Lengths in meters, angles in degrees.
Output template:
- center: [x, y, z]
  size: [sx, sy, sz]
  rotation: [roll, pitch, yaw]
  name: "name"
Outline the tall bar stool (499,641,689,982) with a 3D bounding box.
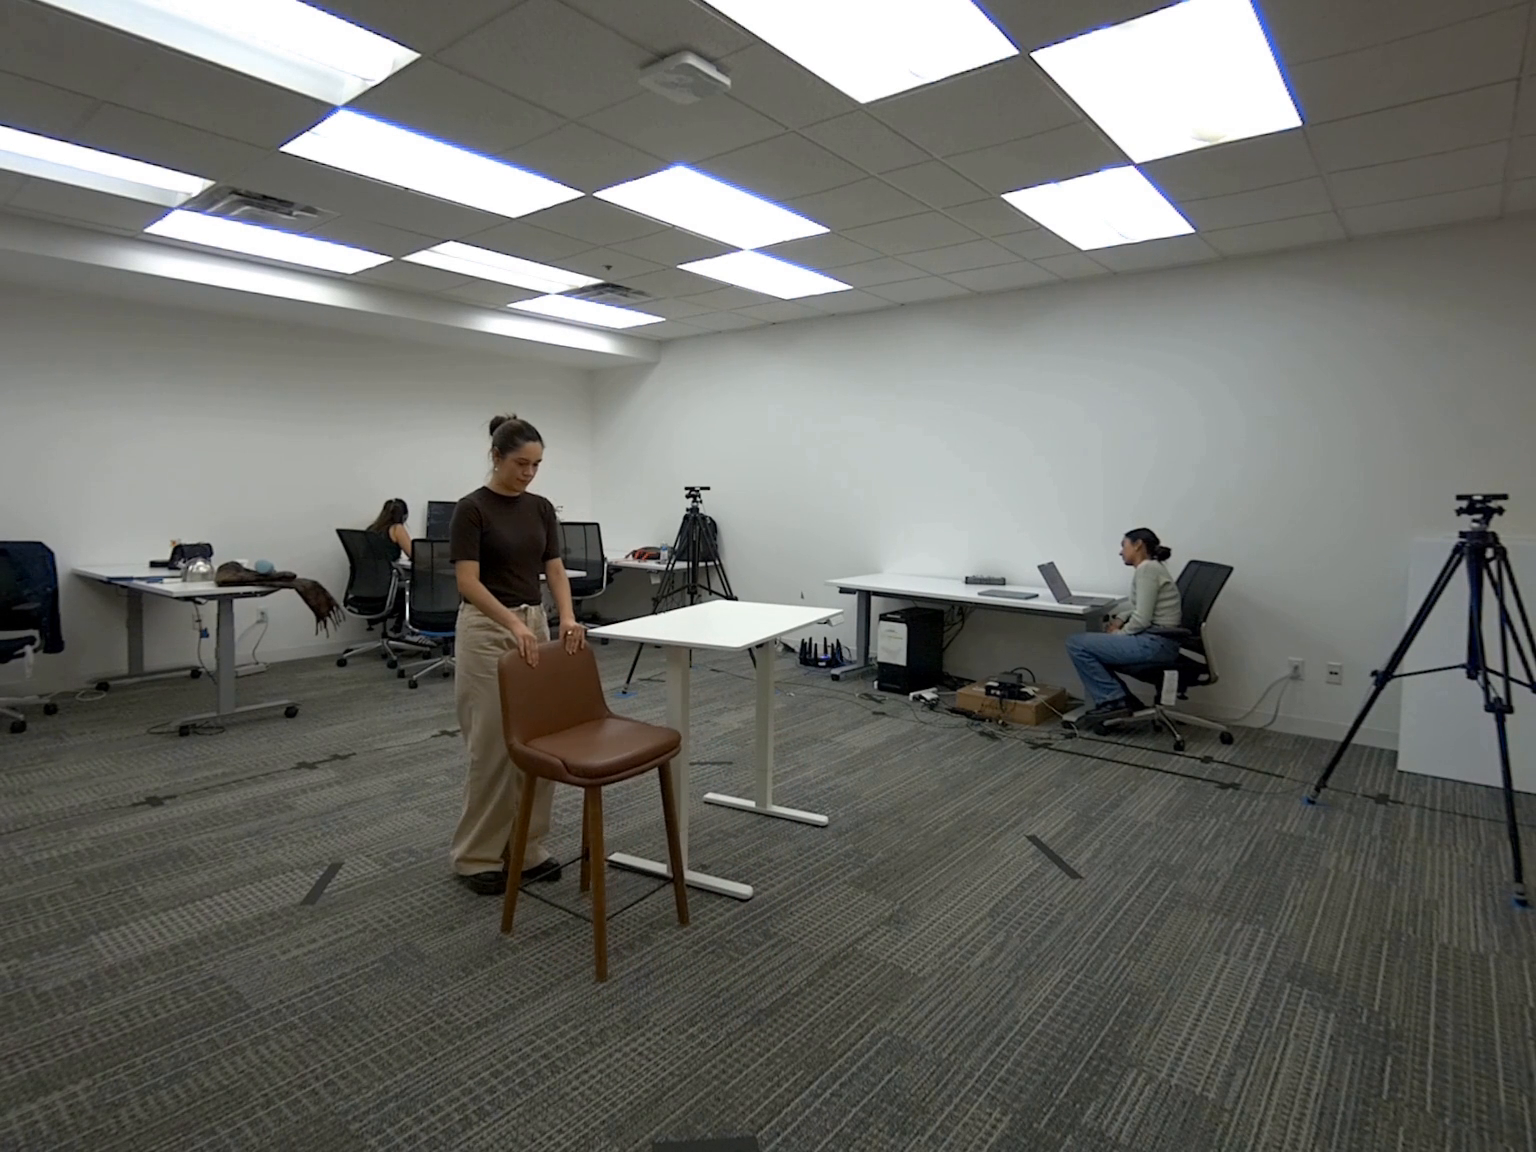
- center: [-0.558, 0.670, 2.647]
  size: [0.481, 0.888, 0.444]
  rotation: [0, 2, 33]
  name: "tall bar stool"
